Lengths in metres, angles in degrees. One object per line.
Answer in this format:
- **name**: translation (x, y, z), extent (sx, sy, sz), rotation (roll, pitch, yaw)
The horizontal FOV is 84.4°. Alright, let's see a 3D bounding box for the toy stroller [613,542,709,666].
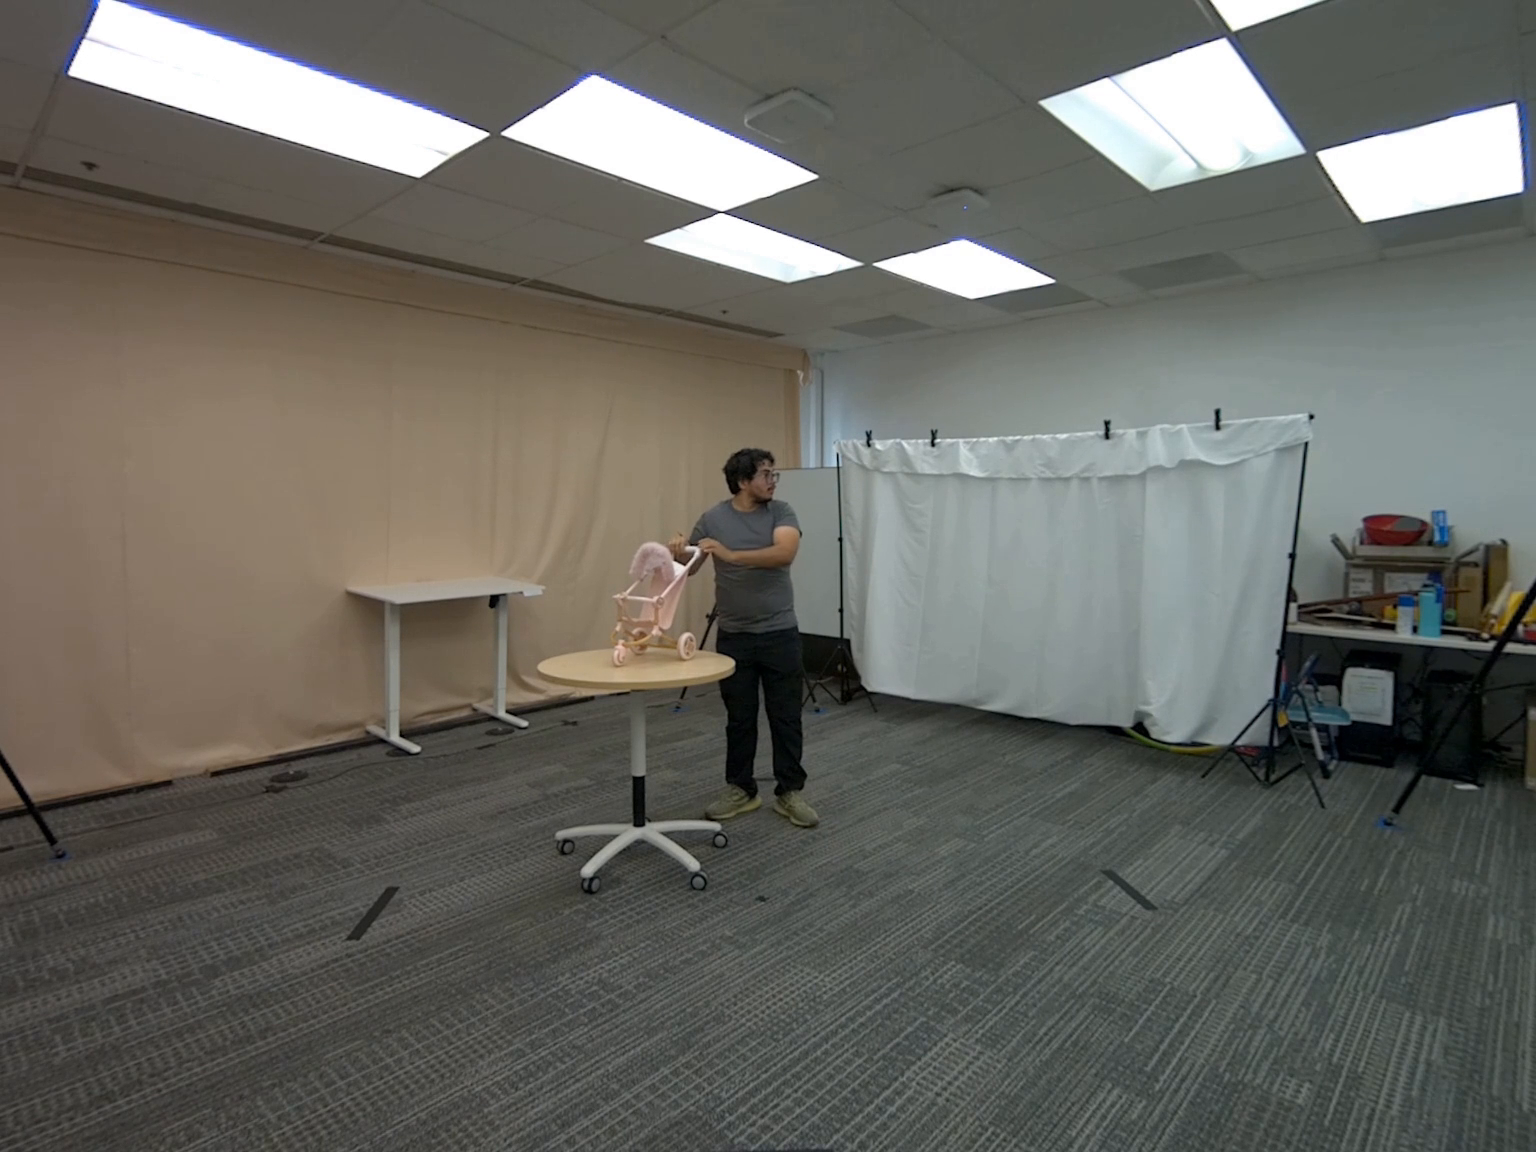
- **toy stroller**: translation (-0.466, 0.109, 3.362), extent (0.290, 0.537, 0.329), rotation (1, -11, 38)
